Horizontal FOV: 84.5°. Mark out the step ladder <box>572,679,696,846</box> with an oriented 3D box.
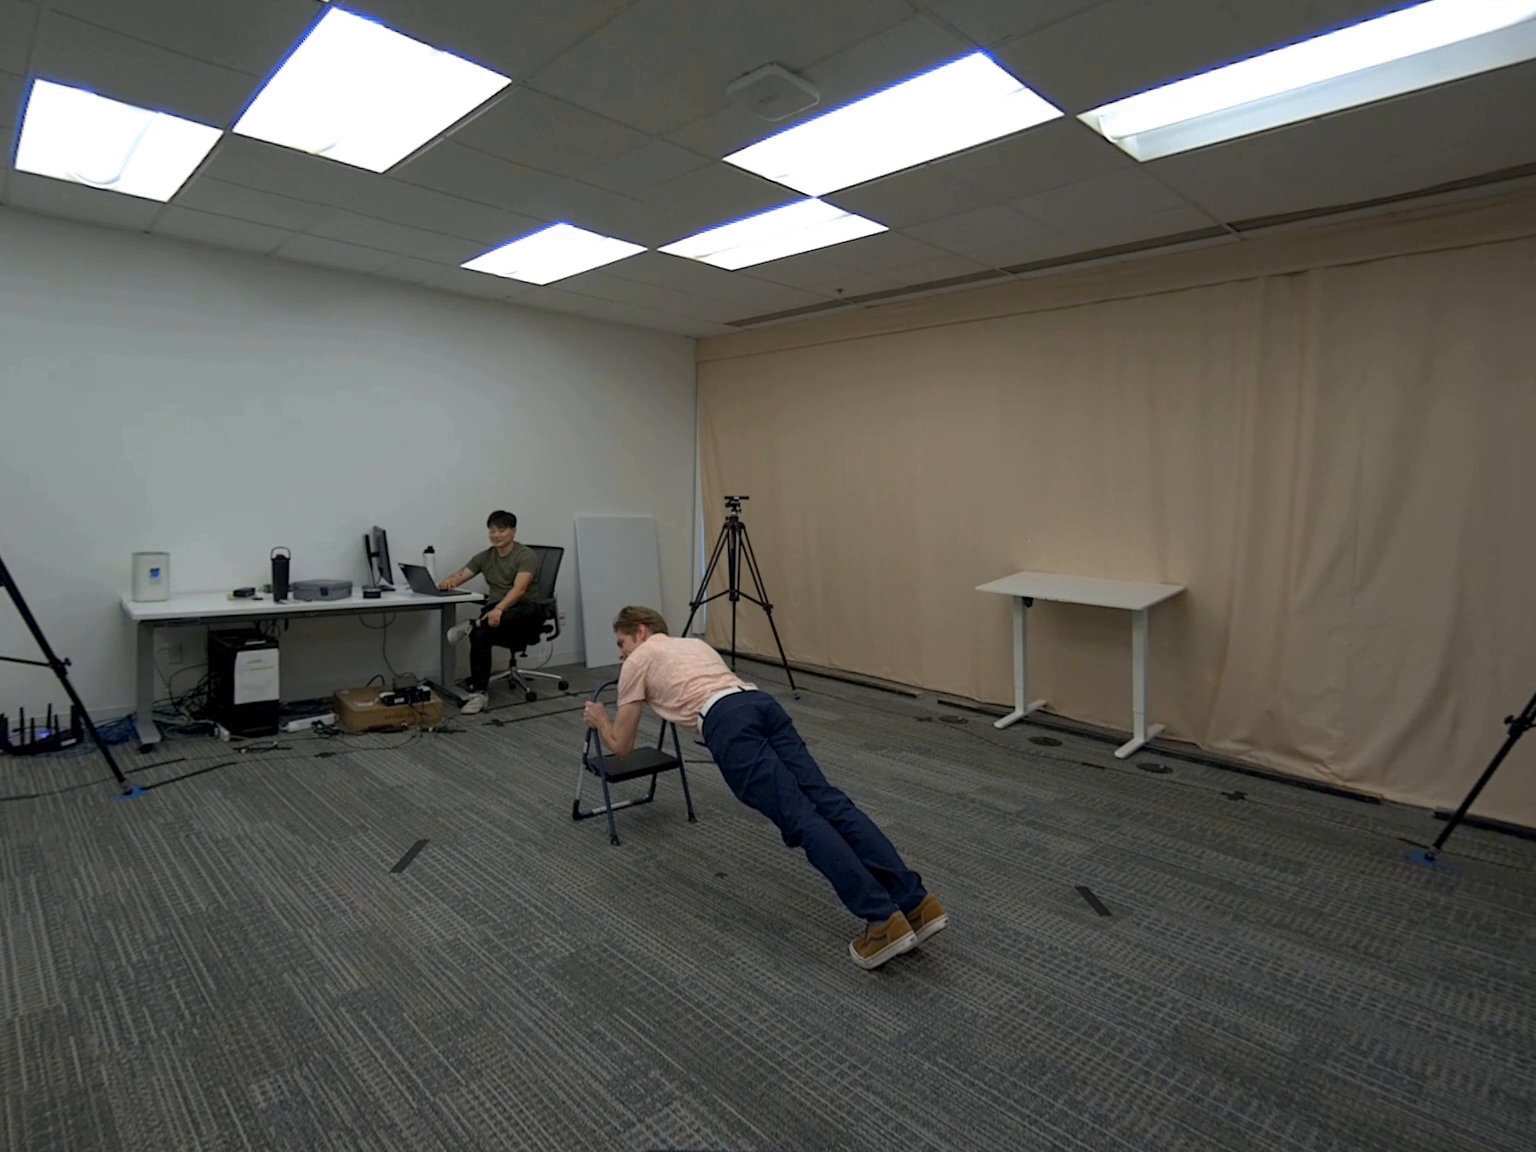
[{"bbox_3d":[-0.576,0.750,3.597,0.421,0.605,0.358,-2,4,-43],"label":"step ladder"}]
